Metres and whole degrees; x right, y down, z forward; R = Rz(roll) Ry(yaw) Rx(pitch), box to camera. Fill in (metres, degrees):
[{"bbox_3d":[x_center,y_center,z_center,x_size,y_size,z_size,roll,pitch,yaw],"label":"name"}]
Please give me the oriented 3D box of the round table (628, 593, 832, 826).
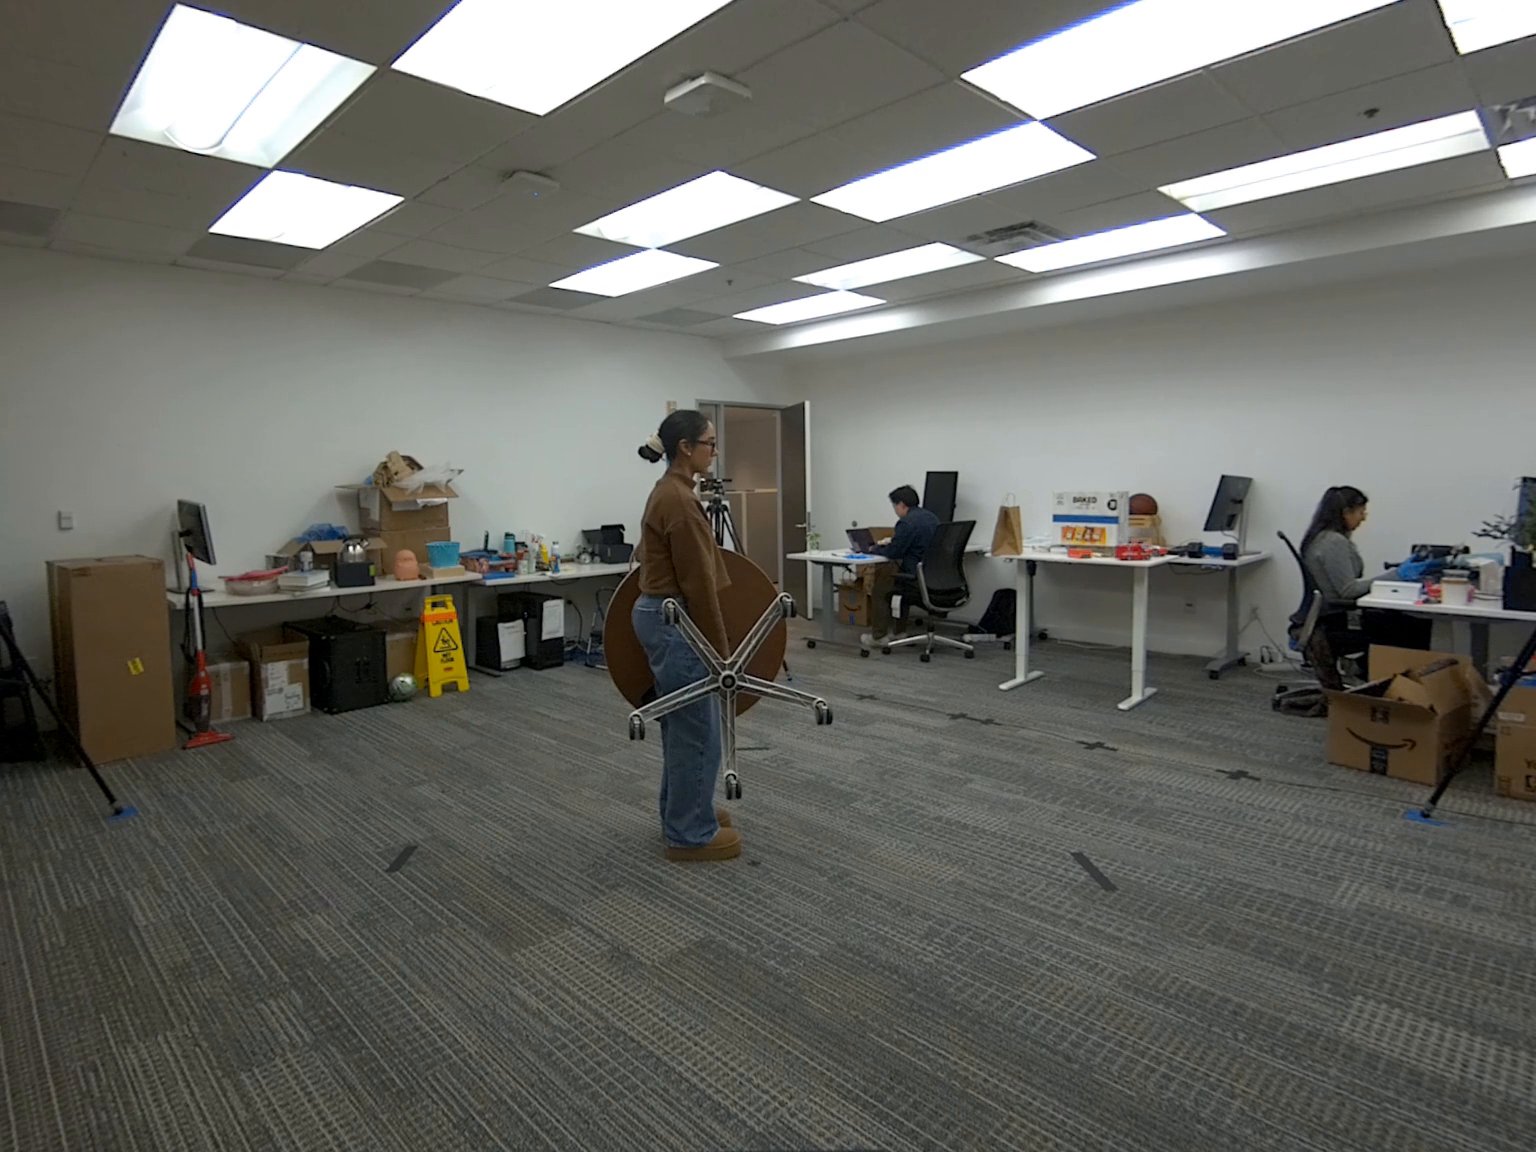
[{"bbox_3d":[-0.205,0.312,3.138,0.756,0.759,0.808,-2,8,-12],"label":"round table"}]
